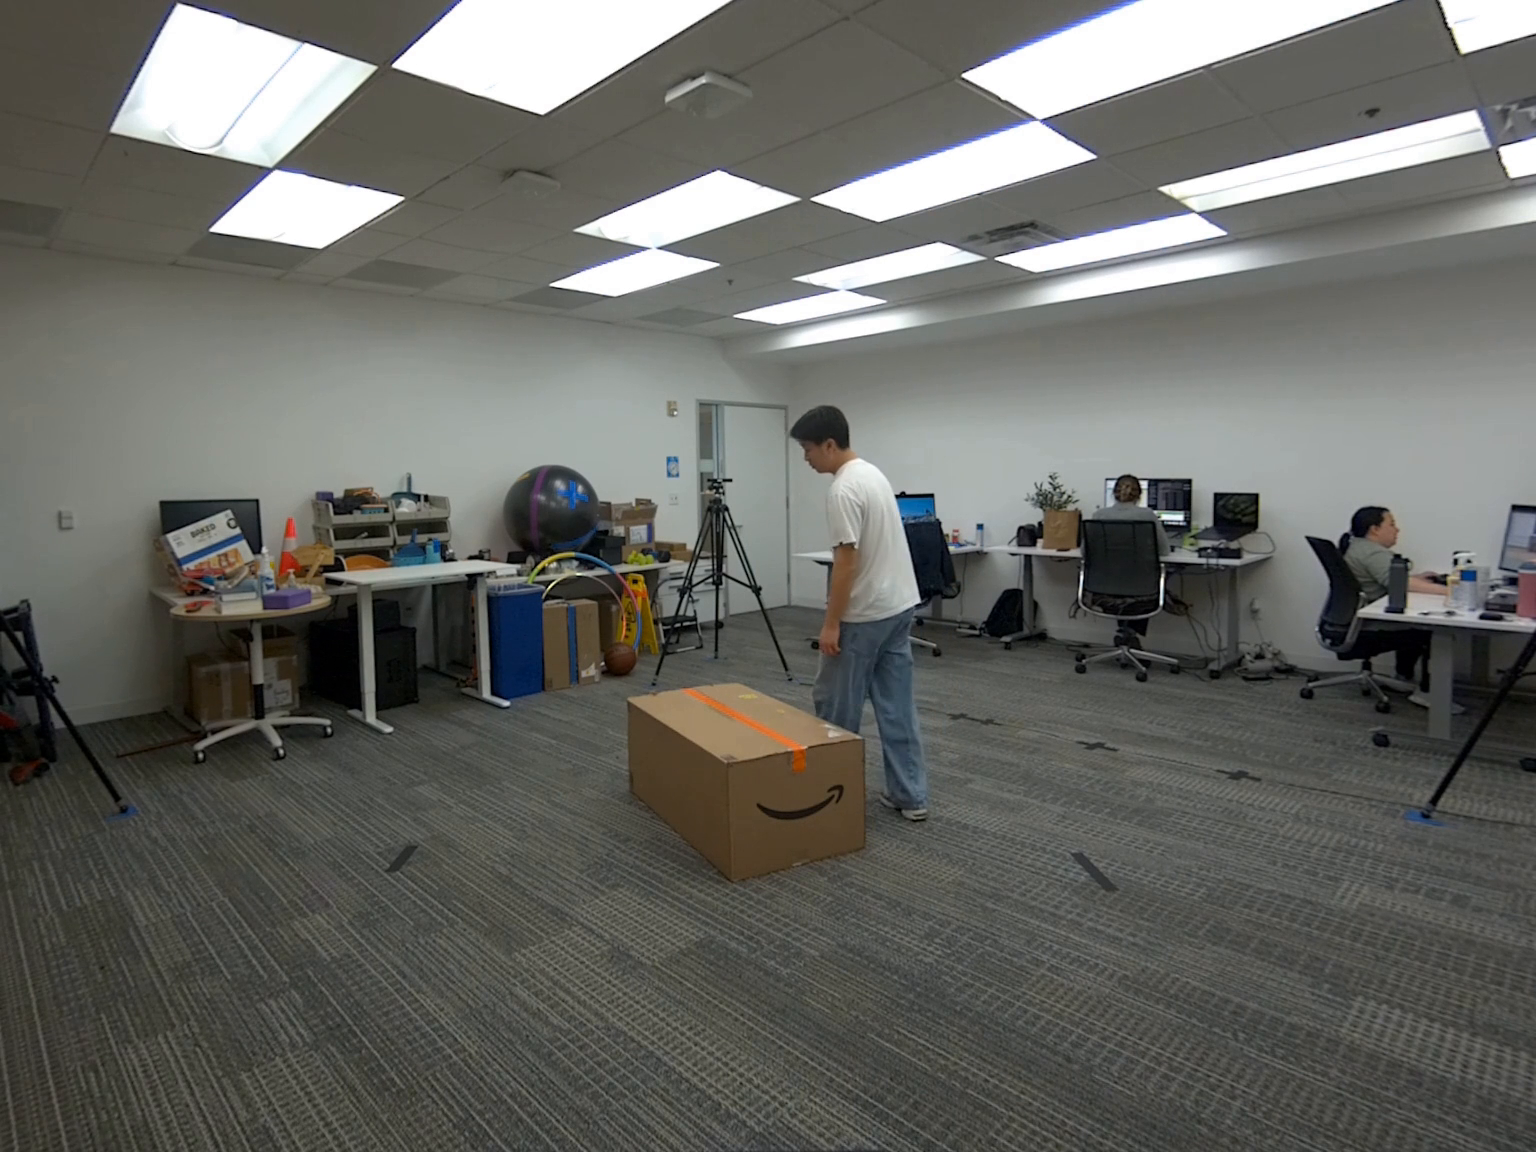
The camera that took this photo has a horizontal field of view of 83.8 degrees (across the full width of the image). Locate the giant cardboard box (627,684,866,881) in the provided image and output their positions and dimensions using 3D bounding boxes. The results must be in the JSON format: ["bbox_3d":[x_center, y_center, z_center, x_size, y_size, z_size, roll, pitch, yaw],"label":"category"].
[{"bbox_3d":[-0.137,0.786,3.526,0.564,0.424,1.054,-3,6,-28],"label":"giant cardboard box"}]
